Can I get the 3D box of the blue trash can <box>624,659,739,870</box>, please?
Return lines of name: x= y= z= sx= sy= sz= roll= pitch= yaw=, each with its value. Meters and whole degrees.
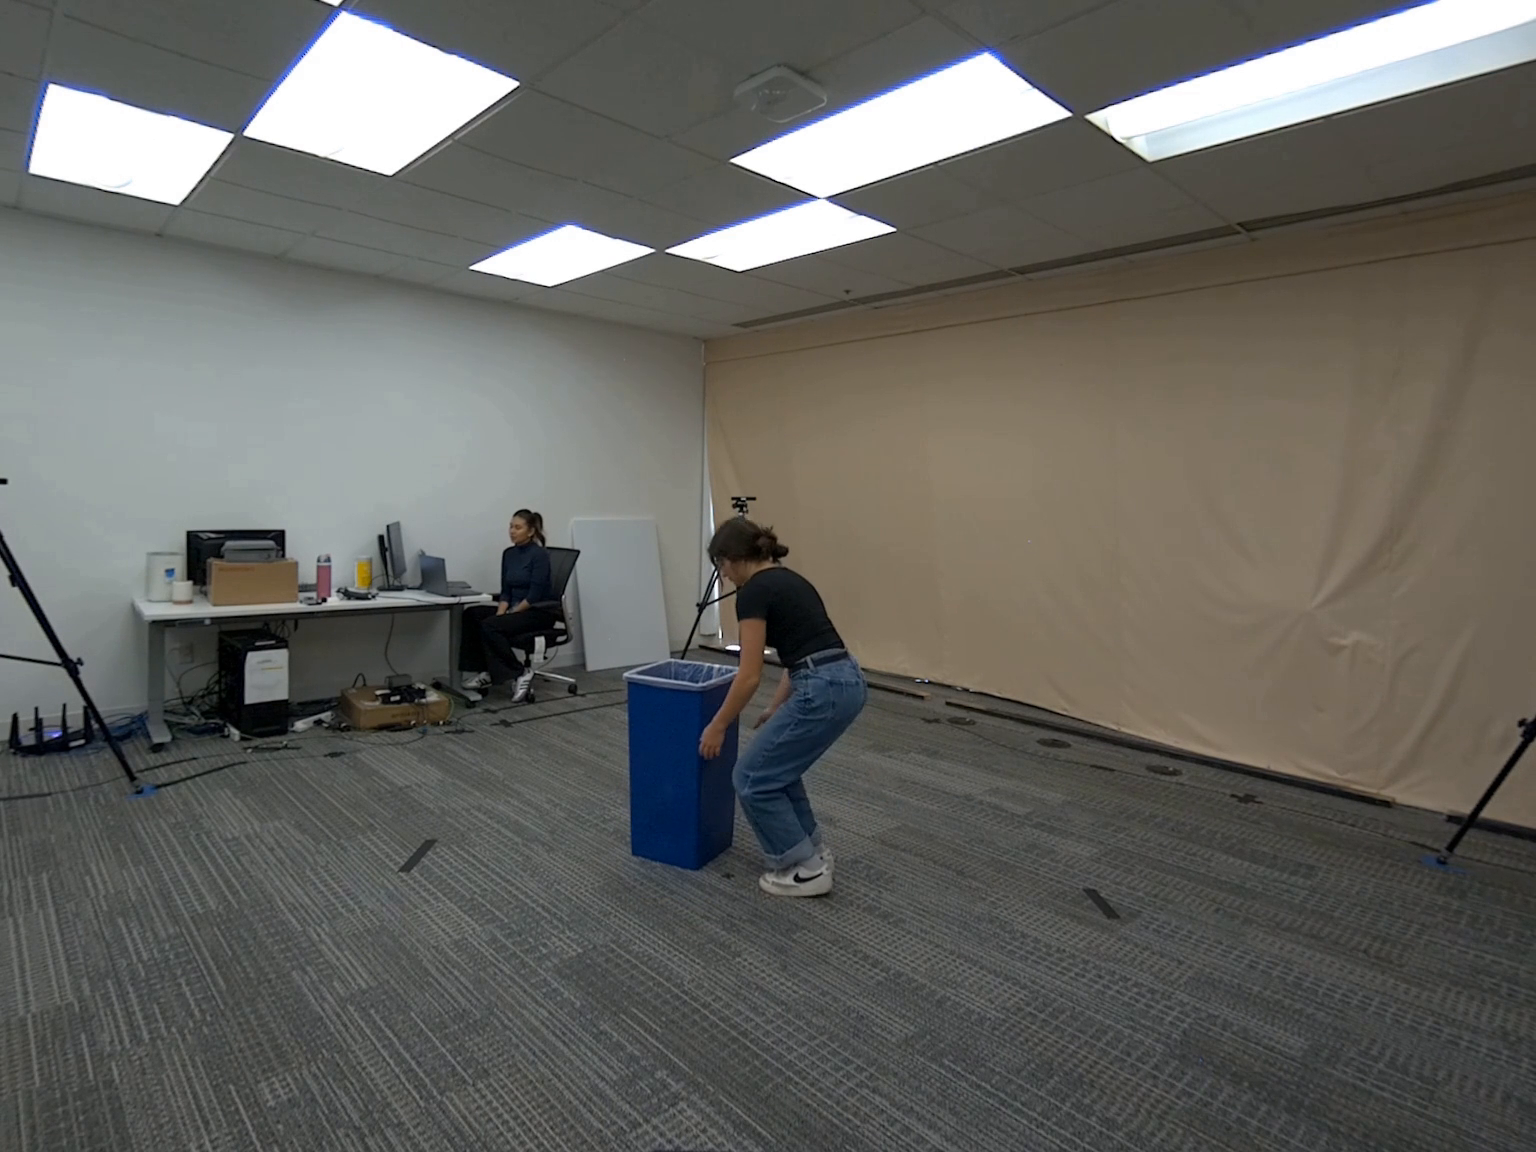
blue trash can: x=-0.337 y=0.725 z=3.308 sx=0.386 sy=0.712 sz=0.367 roll=3 pitch=4 yaw=27
